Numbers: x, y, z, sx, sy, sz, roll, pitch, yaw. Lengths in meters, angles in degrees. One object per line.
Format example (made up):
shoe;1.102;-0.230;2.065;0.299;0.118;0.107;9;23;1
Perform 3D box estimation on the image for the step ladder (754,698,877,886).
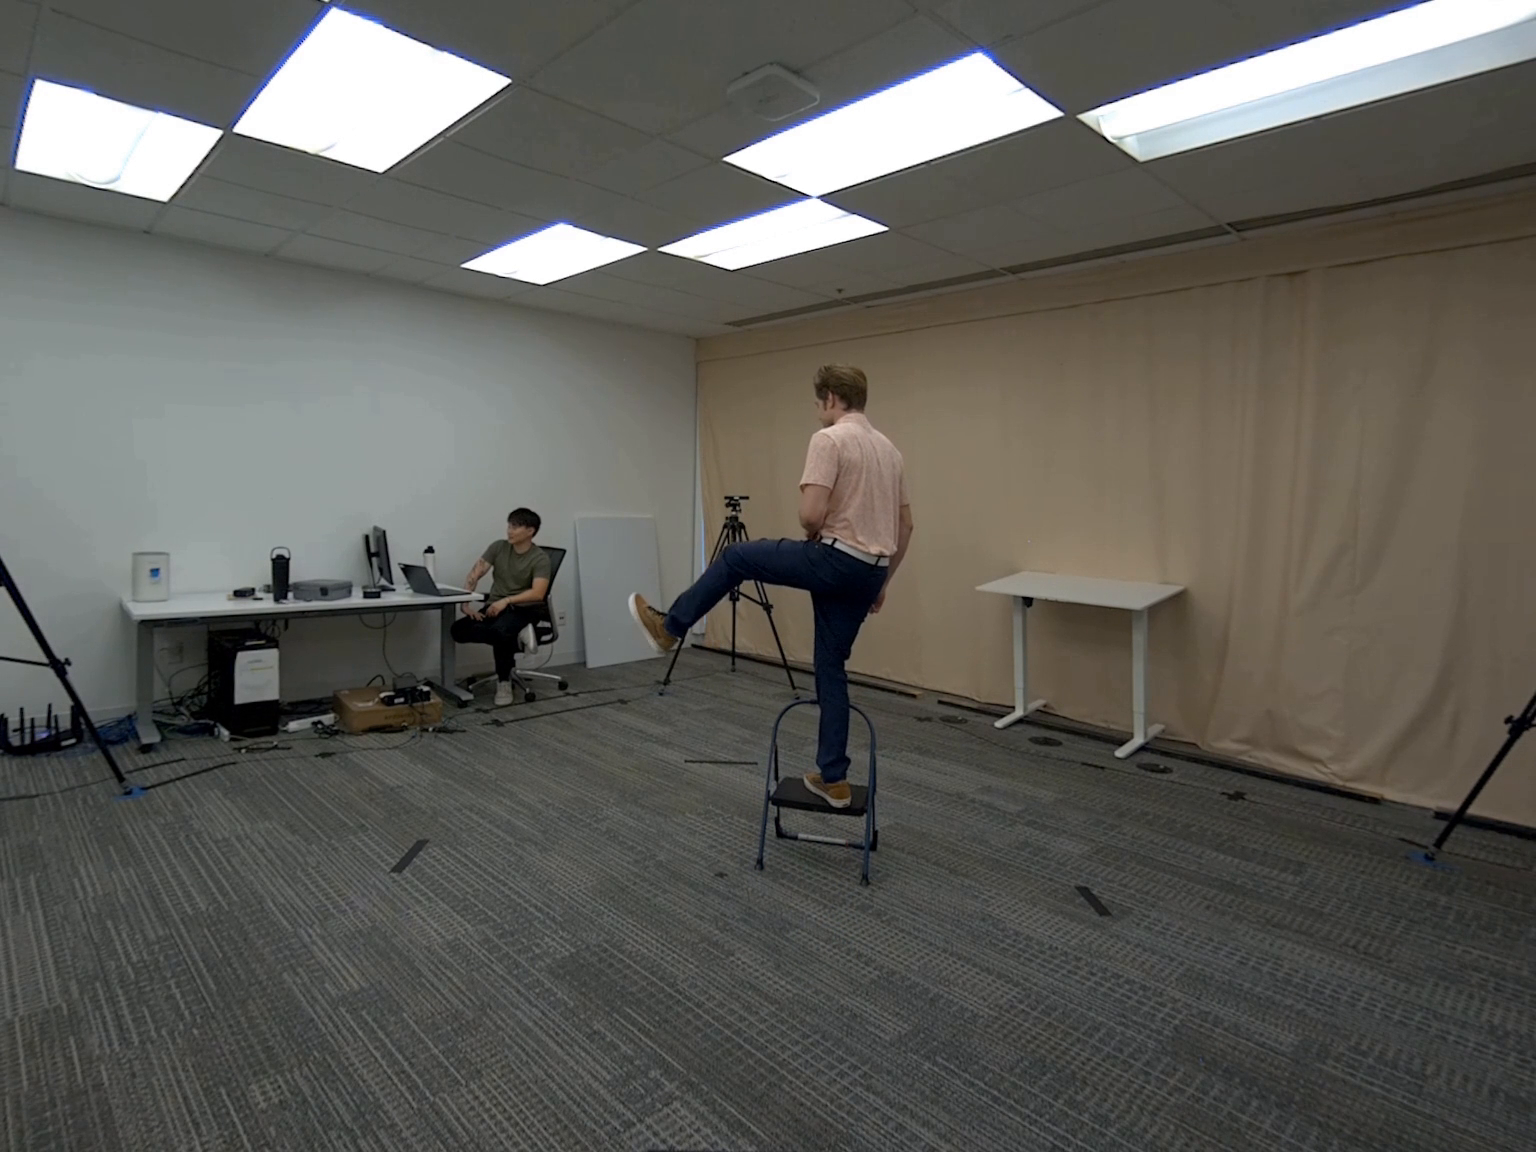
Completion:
step ladder;0.201;0.799;3.250;0.436;0.605;0.346;3;3;15
